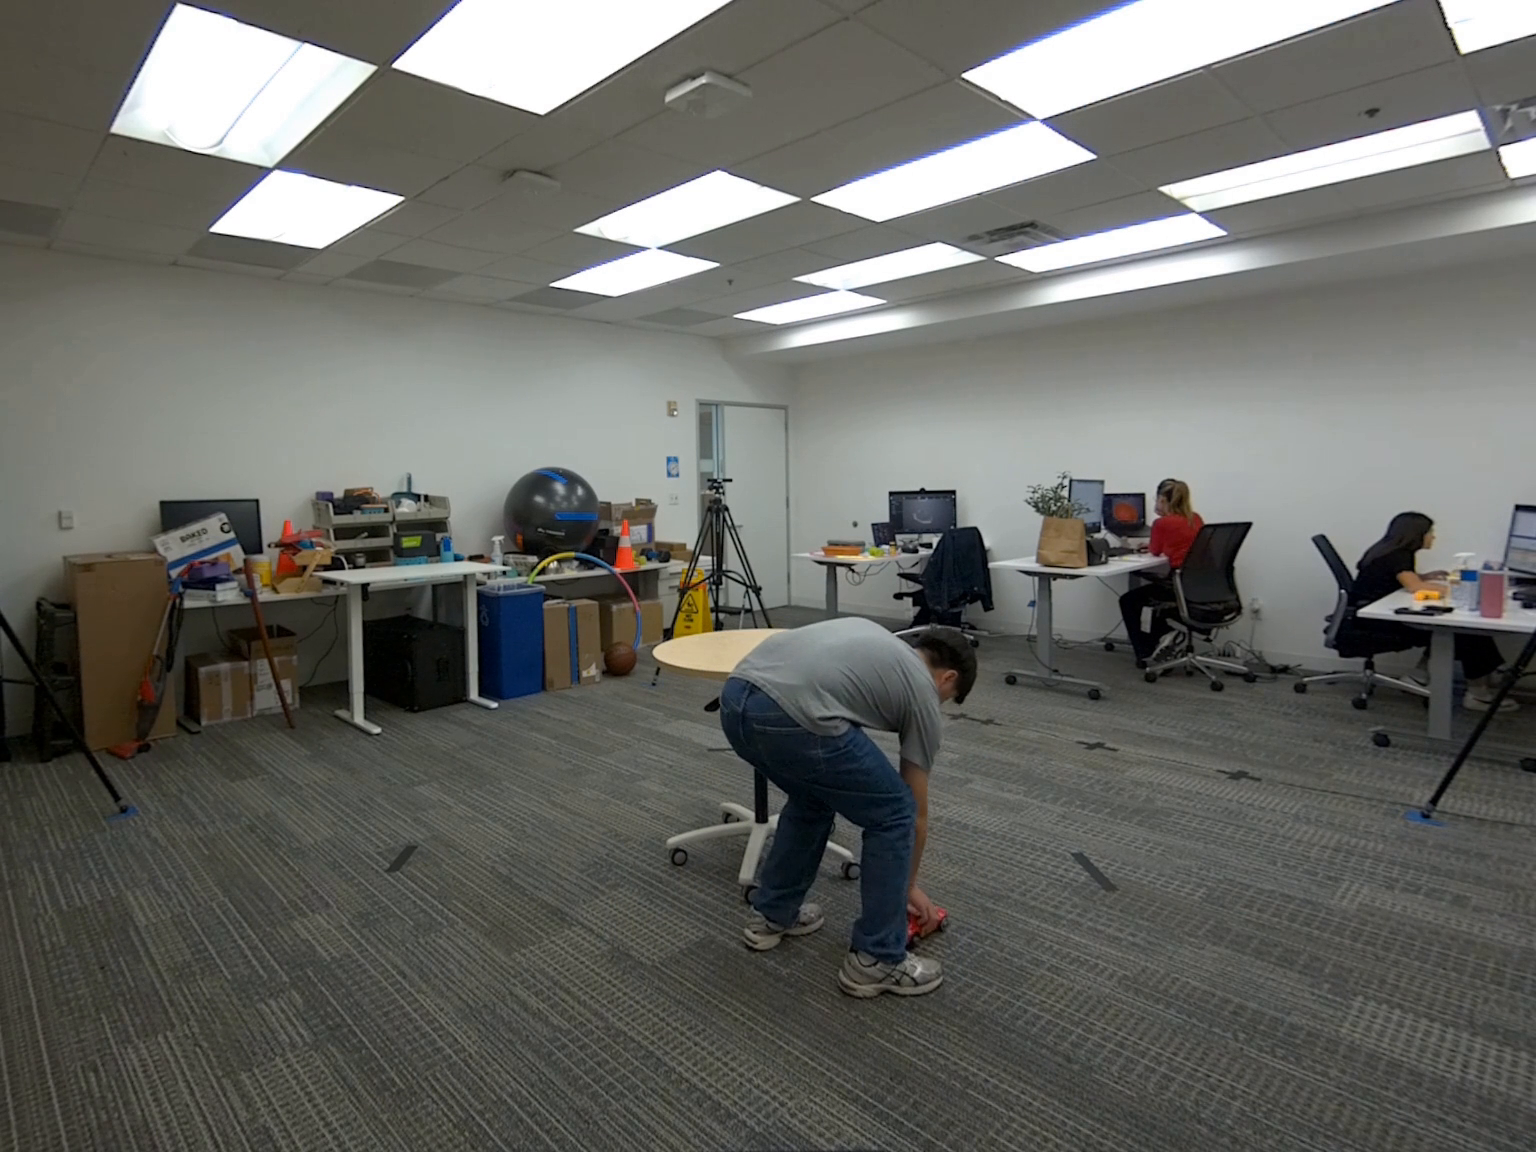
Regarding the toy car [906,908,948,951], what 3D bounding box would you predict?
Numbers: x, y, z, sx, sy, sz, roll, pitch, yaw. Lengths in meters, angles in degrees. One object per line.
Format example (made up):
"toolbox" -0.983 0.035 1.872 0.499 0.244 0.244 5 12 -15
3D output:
"toy car" 0.448 1.069 2.591 0.246 0.083 0.134 7 0 -43
